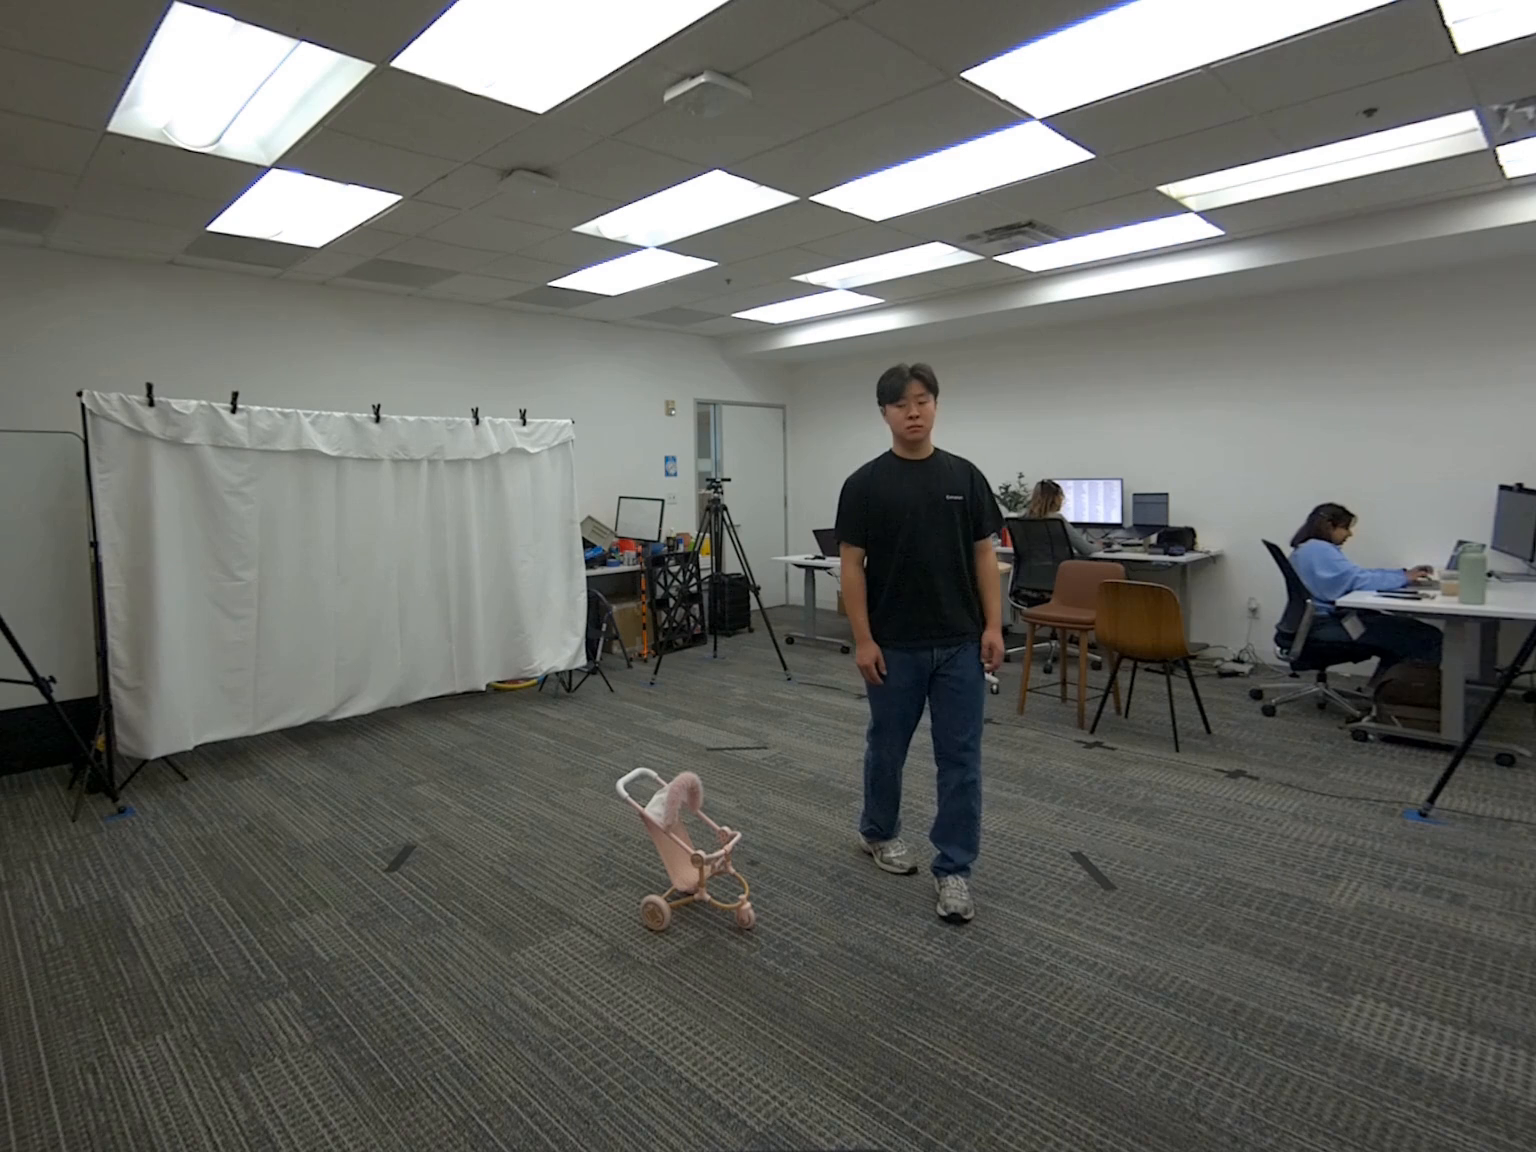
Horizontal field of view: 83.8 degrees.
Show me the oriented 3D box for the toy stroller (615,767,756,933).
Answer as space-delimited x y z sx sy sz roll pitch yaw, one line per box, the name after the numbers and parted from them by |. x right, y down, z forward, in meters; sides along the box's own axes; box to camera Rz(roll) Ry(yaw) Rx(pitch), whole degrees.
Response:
-0.244 0.868 2.721 0.347 0.537 0.276 -17 -4 29 | toy stroller
